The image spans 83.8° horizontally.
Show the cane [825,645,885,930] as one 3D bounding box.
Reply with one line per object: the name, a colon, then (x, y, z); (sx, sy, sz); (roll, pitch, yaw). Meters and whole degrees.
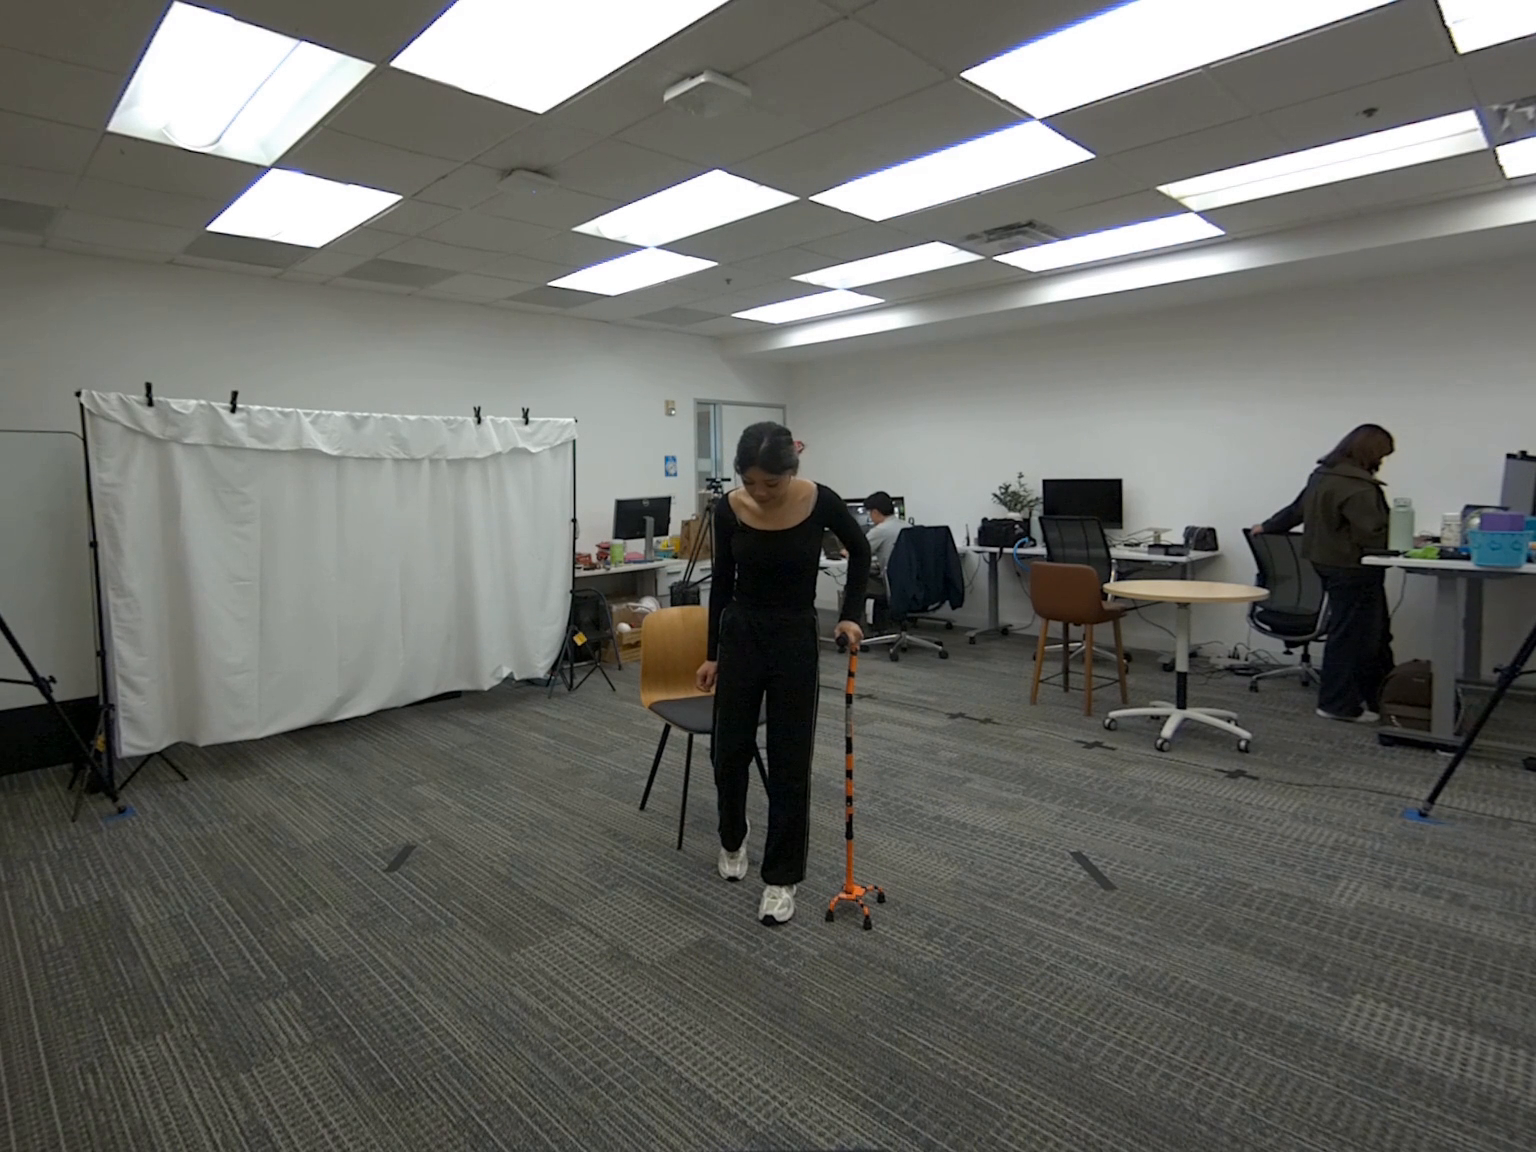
cane: (0.276, 0.621, 2.721); (0.155, 0.905, 0.203); (1, 4, 22)
